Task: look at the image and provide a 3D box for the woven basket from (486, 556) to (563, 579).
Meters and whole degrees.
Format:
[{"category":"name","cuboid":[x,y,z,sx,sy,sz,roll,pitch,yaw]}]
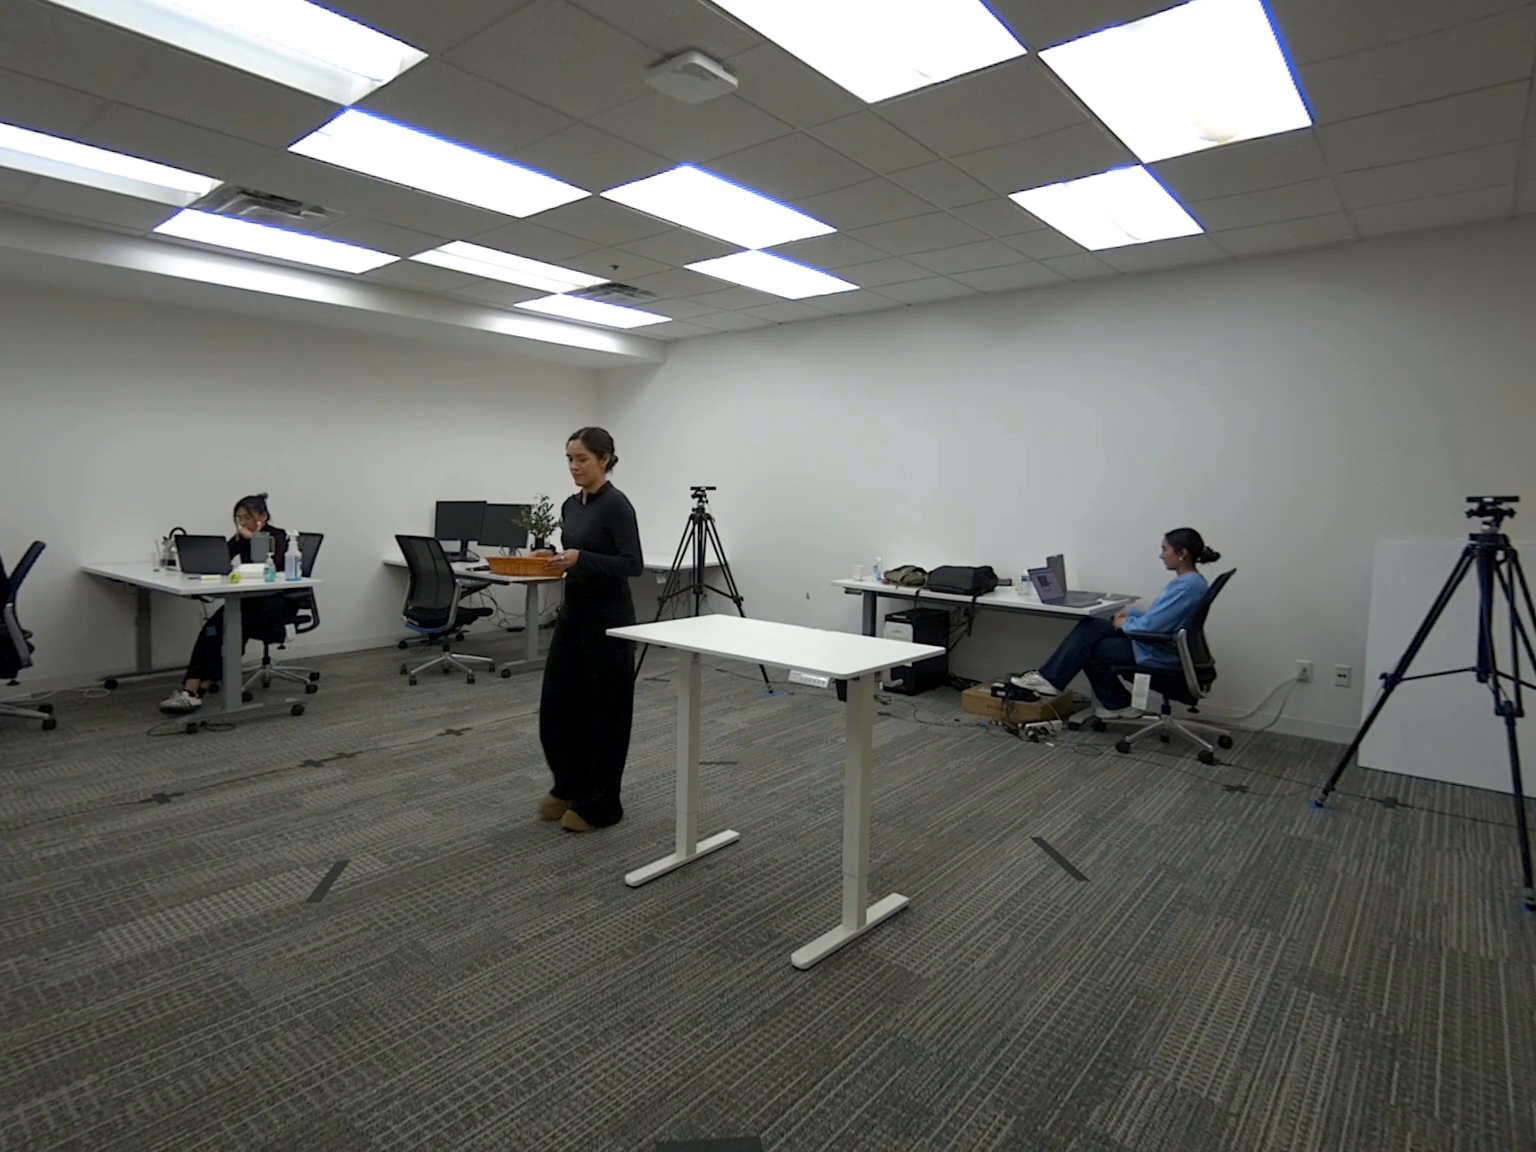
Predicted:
[{"category":"woven basket","cuboid":[-0.947,-0.033,3.285,0.261,0.073,0.339,3,3,42]}]
